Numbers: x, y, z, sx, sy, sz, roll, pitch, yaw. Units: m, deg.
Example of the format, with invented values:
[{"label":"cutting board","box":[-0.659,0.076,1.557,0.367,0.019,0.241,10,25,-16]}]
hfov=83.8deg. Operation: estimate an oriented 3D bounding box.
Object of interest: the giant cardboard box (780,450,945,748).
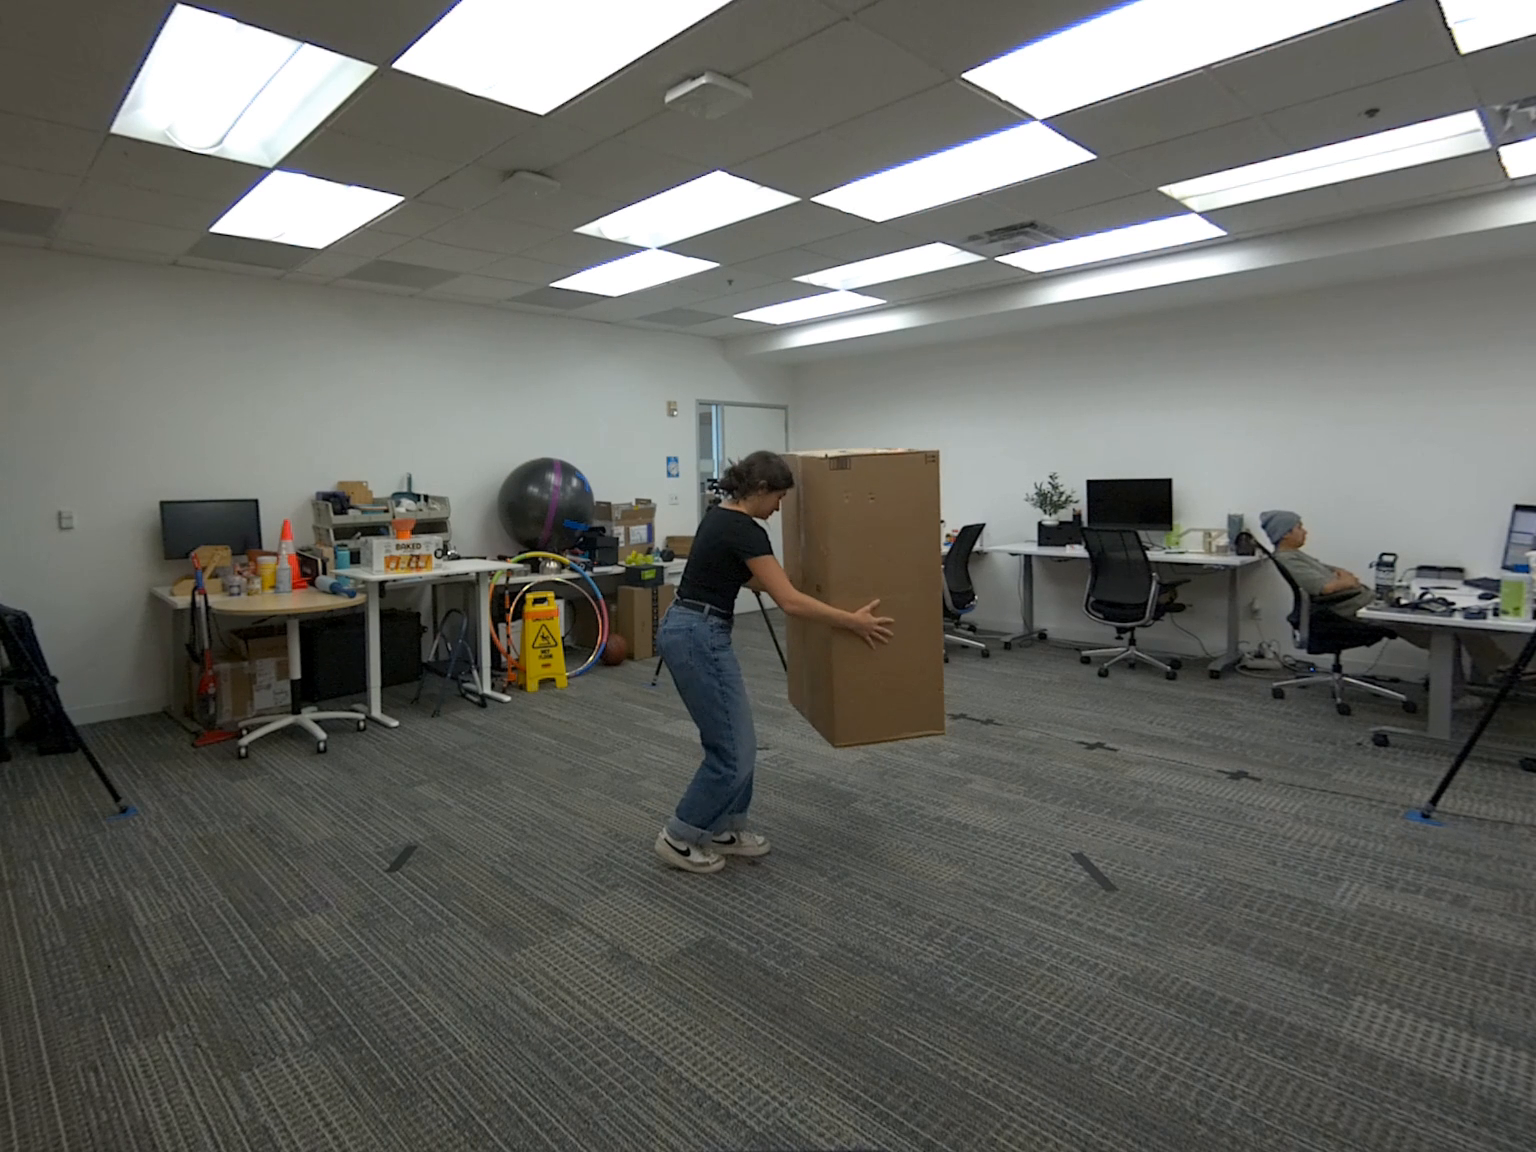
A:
[{"label":"giant cardboard box","box":[0.341,0.045,3.249,0.421,1.019,0.588,-4,7,-14]}]
